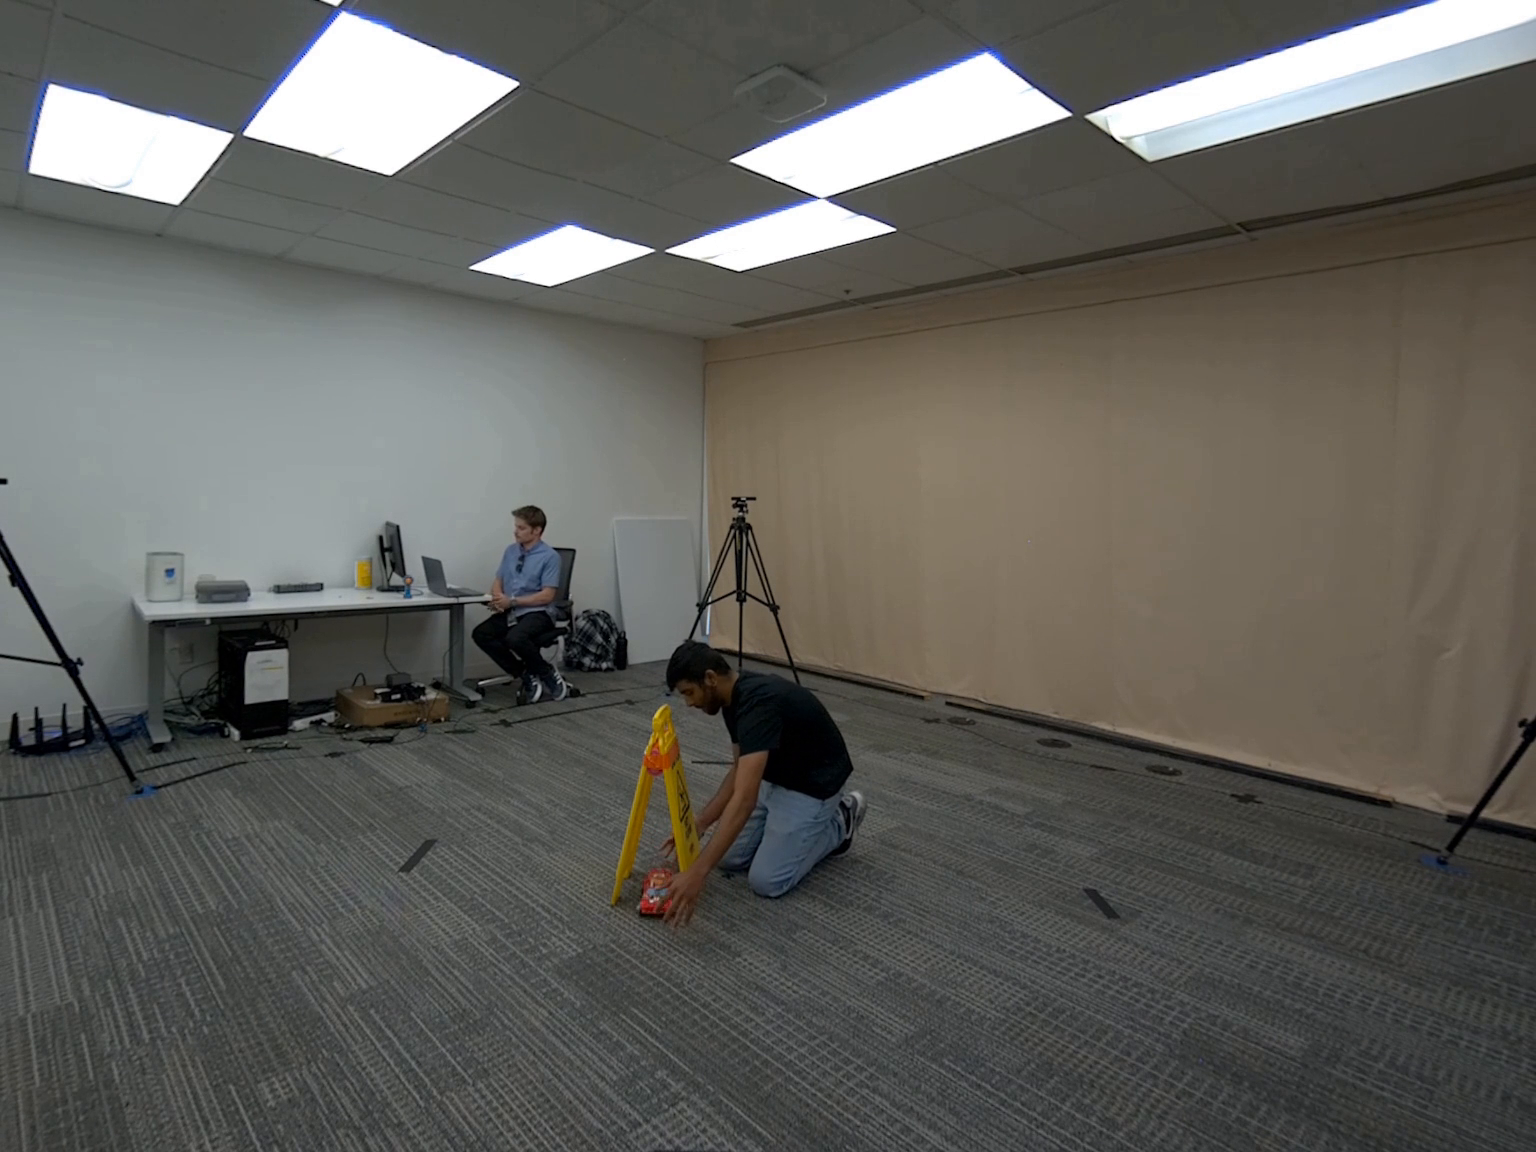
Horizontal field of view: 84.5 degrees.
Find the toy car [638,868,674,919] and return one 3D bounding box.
[{"bbox_3d":[-0.381,1.079,2.921,0.130,0.082,0.258,0,15,-4],"label":"toy car"}]
